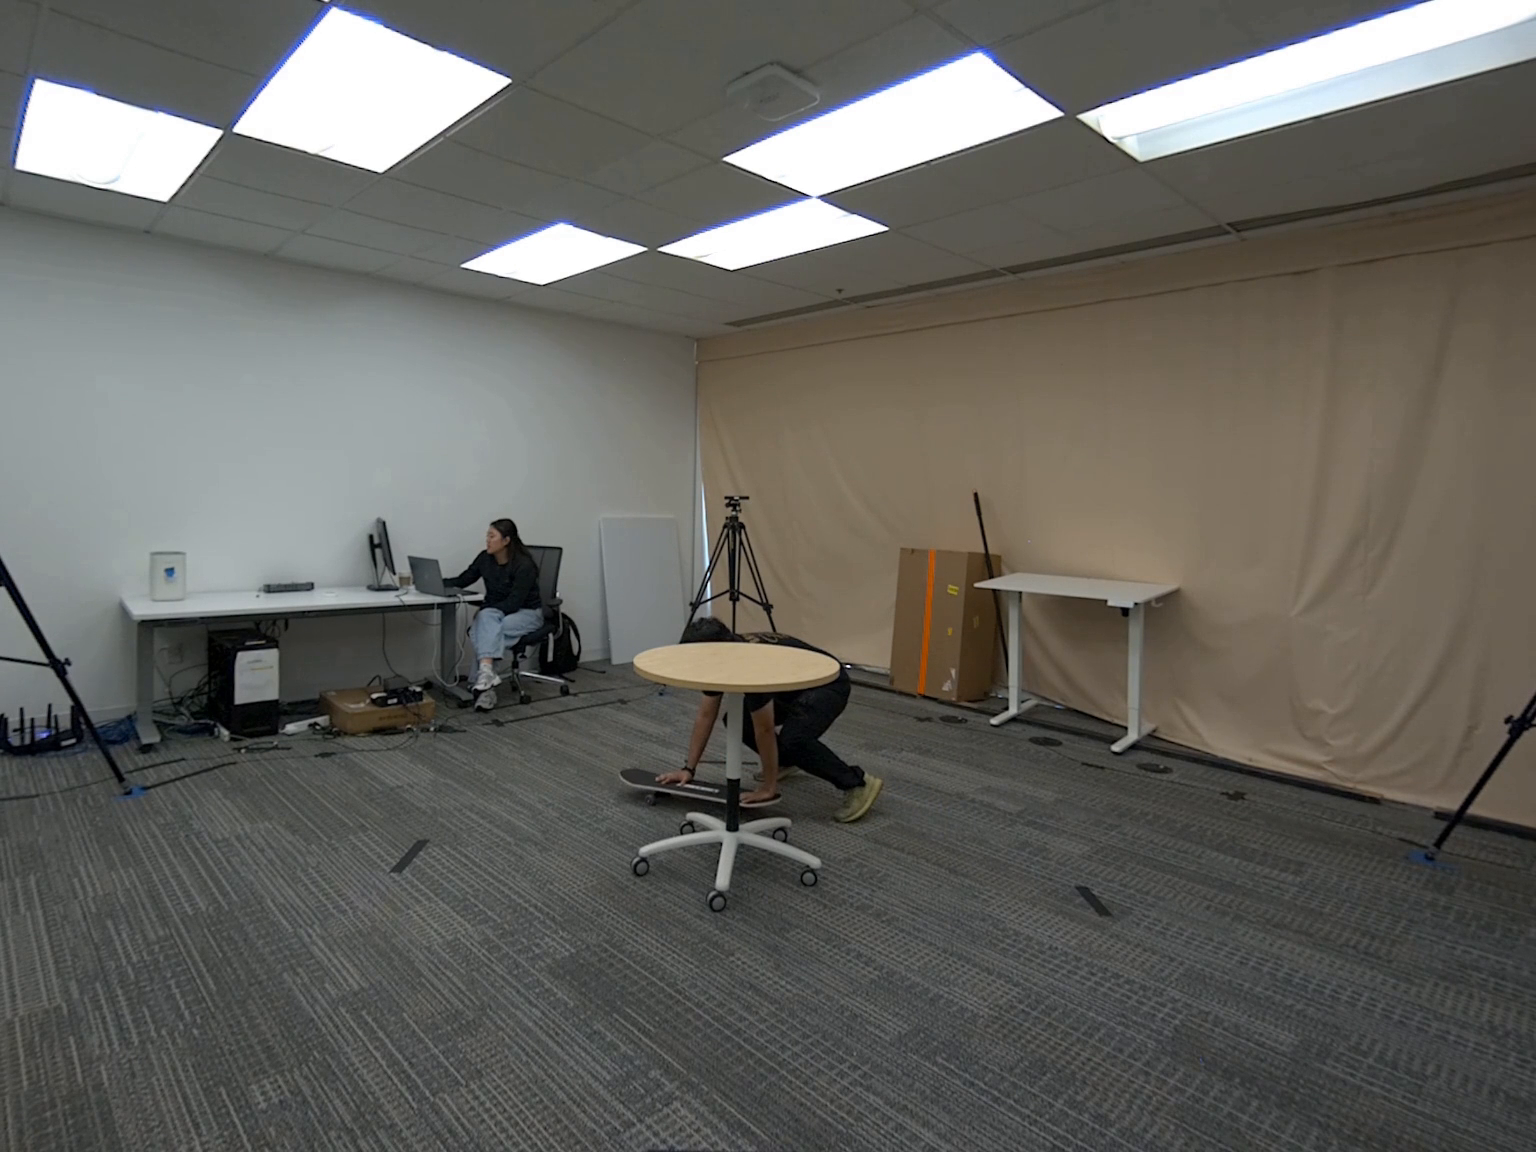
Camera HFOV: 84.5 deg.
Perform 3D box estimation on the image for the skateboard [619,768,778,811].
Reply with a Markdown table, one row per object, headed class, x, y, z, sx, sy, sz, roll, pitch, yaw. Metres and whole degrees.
| class | x | y | z | sx | sy | sz | roll | pitch | yaw |
| --- | --- | --- | --- | --- | --- | --- | --- | --- | --- |
| skateboard | -0.324 | 0.979 | 3.779 | 0.800 | 0.110 | 0.190 | 3 | 3 | 23 |
